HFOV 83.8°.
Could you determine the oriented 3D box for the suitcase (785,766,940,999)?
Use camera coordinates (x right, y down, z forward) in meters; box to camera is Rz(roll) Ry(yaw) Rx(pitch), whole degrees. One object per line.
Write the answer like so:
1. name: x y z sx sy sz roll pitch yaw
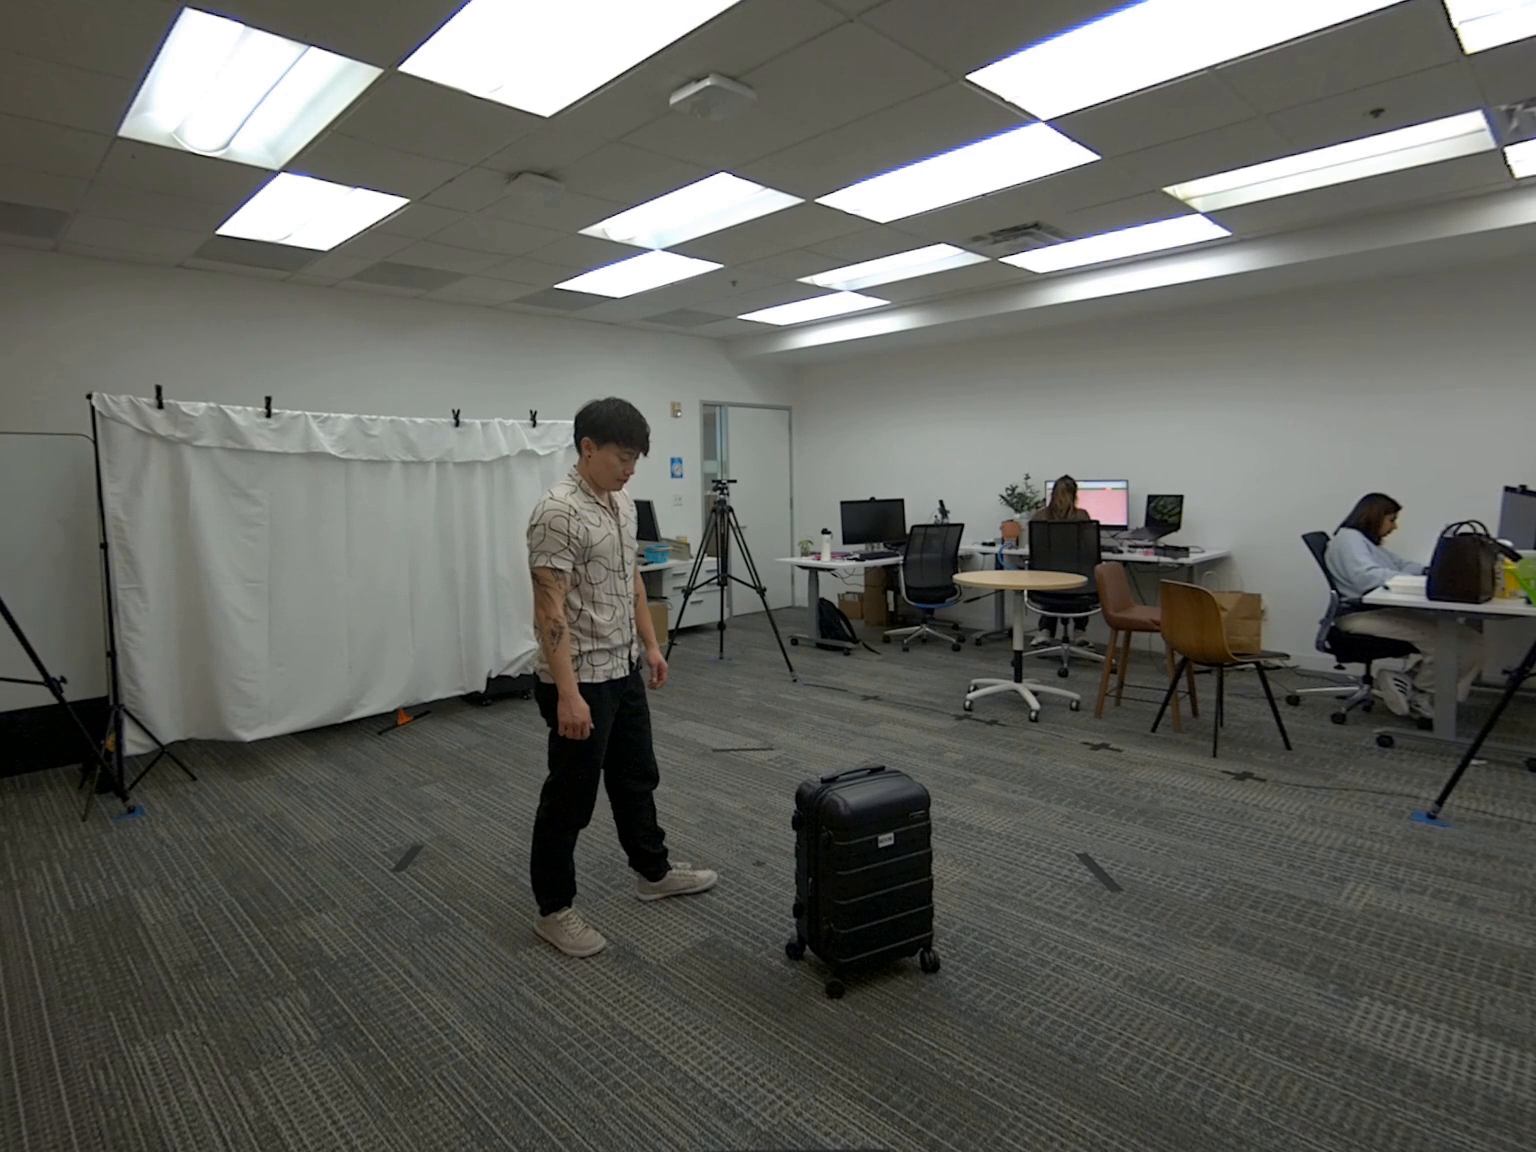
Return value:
1. suitcase: 0.275 0.836 2.453 0.367 0.547 0.255 -3 5 -26
